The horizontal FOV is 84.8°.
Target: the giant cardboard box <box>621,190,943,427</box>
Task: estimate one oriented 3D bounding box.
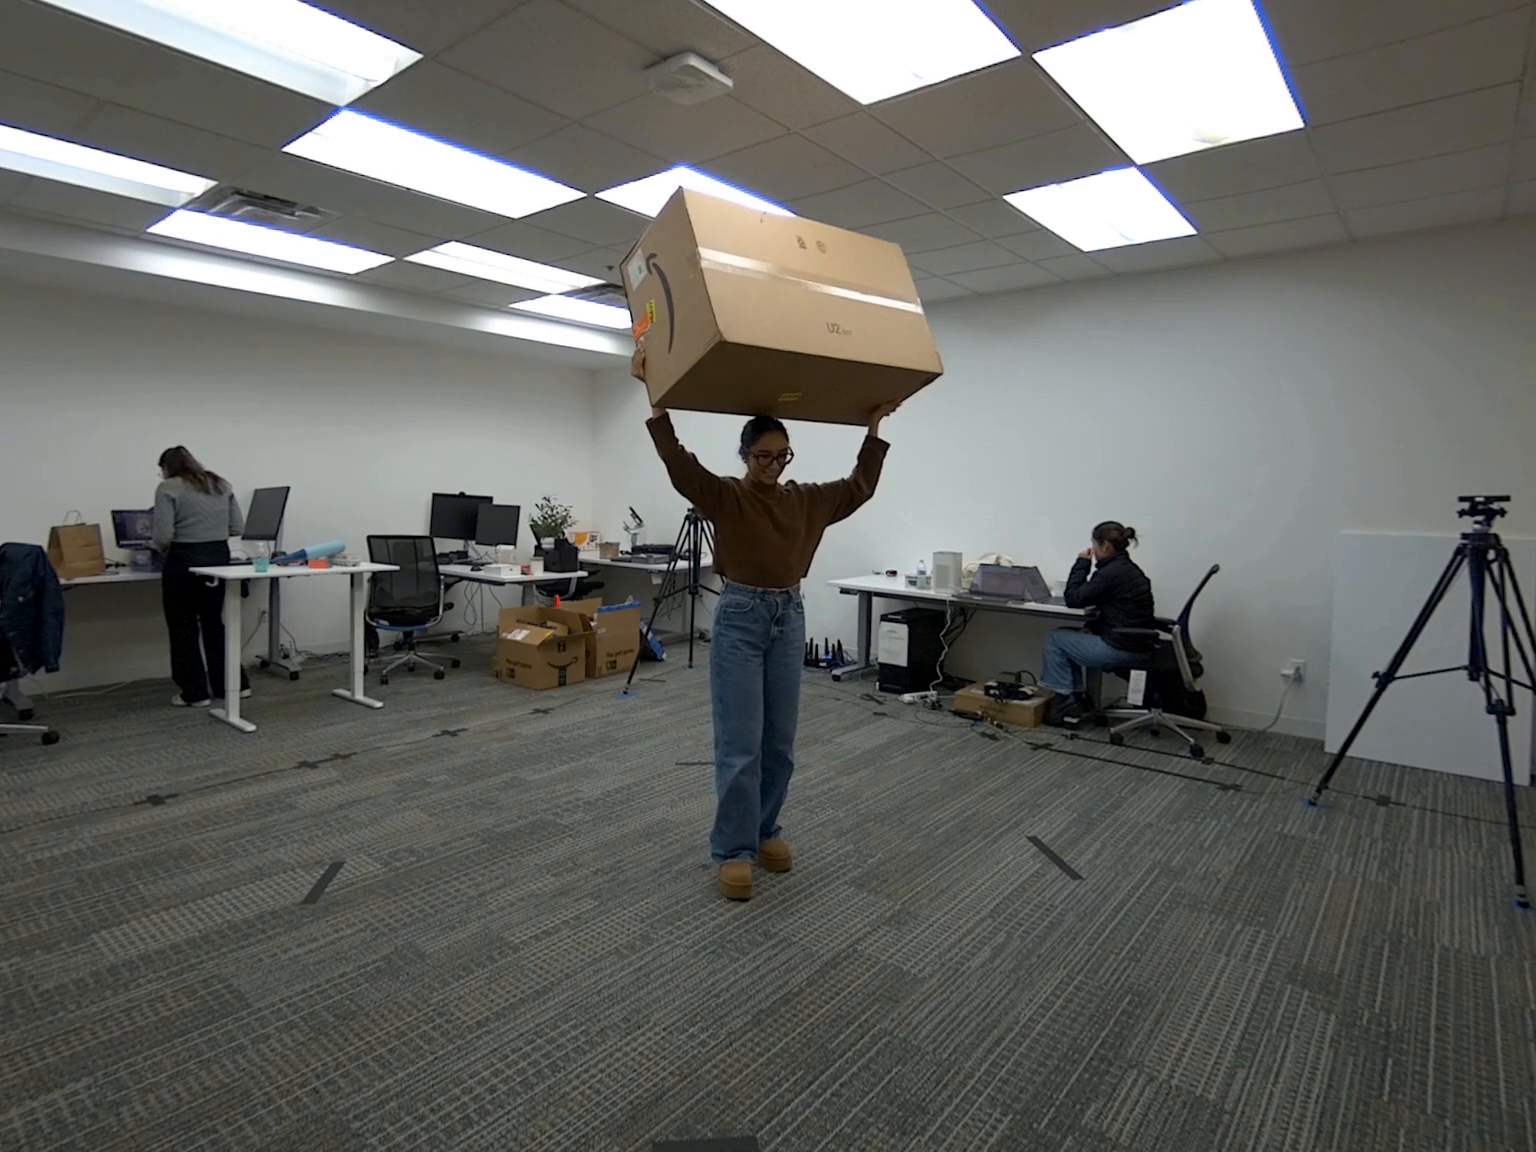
[{"bbox_3d":[0.045,-0.913,3.043,0.996,0.589,0.430,-3,-20,-38],"label":"giant cardboard box"}]
